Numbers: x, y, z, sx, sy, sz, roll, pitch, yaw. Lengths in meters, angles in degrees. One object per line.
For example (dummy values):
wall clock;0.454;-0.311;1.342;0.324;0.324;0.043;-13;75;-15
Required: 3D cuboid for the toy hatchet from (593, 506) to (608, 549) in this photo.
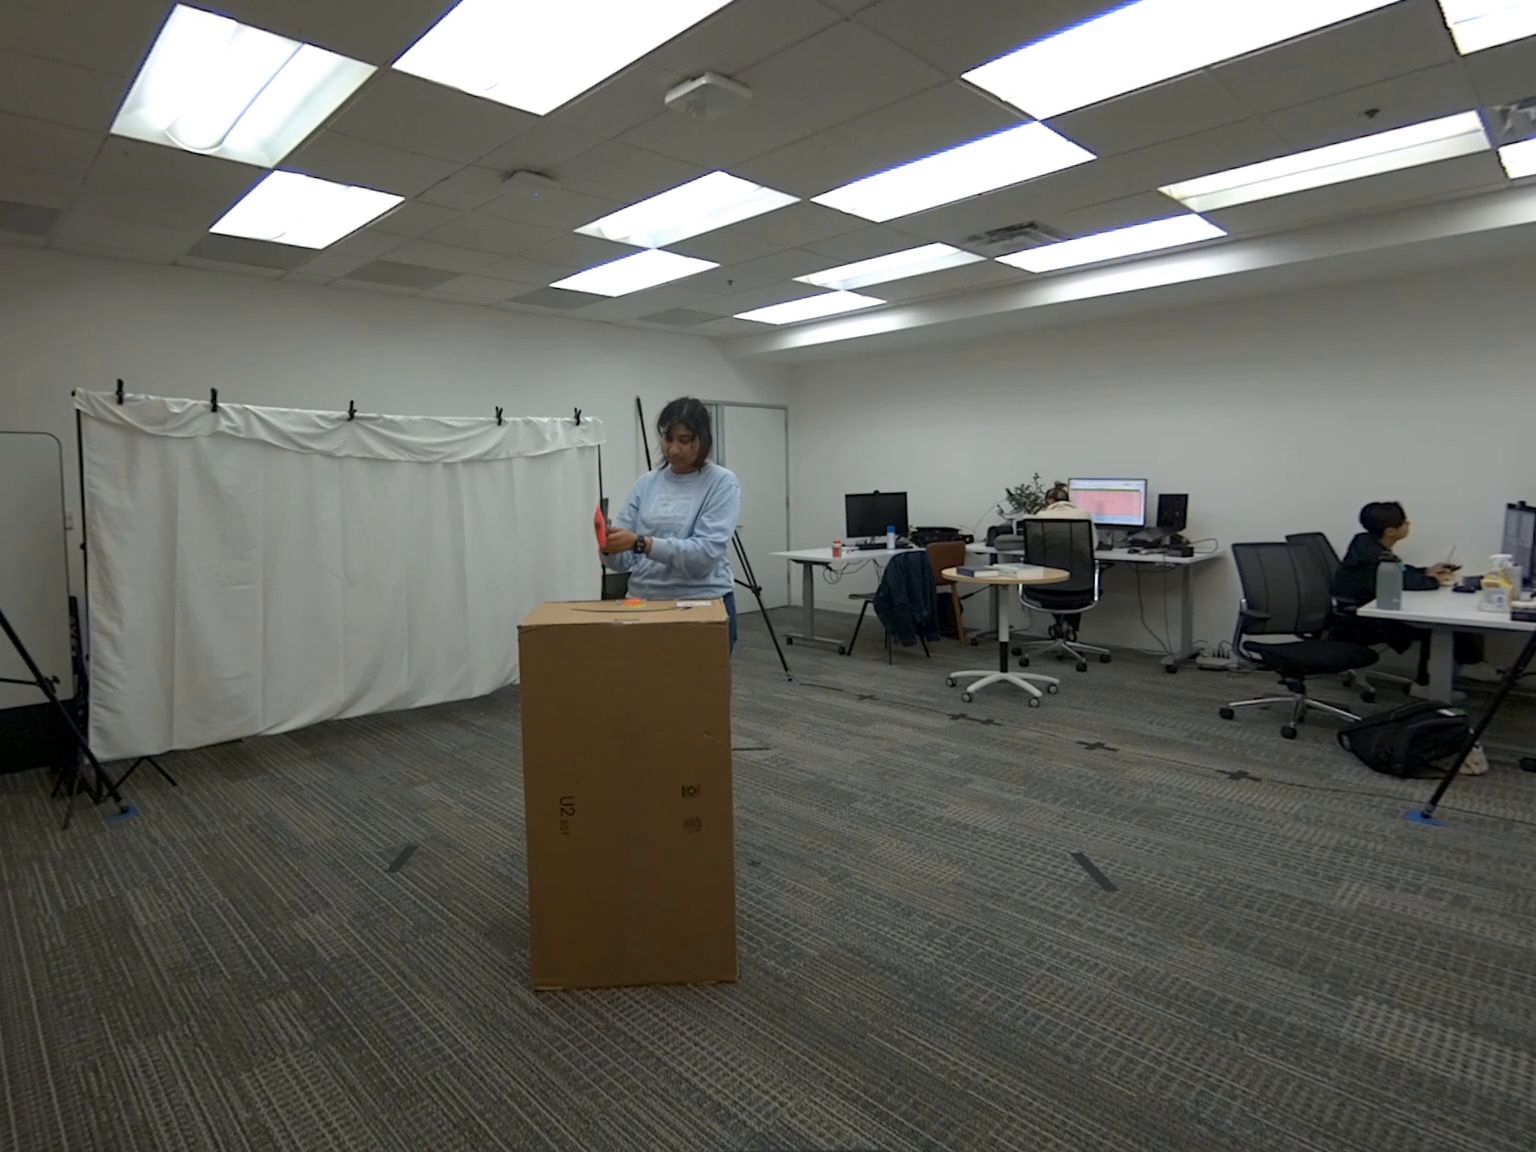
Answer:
toy hatchet;-0.528;-0.120;2.797;0.030;0.134;0.263;-7;-25;4
